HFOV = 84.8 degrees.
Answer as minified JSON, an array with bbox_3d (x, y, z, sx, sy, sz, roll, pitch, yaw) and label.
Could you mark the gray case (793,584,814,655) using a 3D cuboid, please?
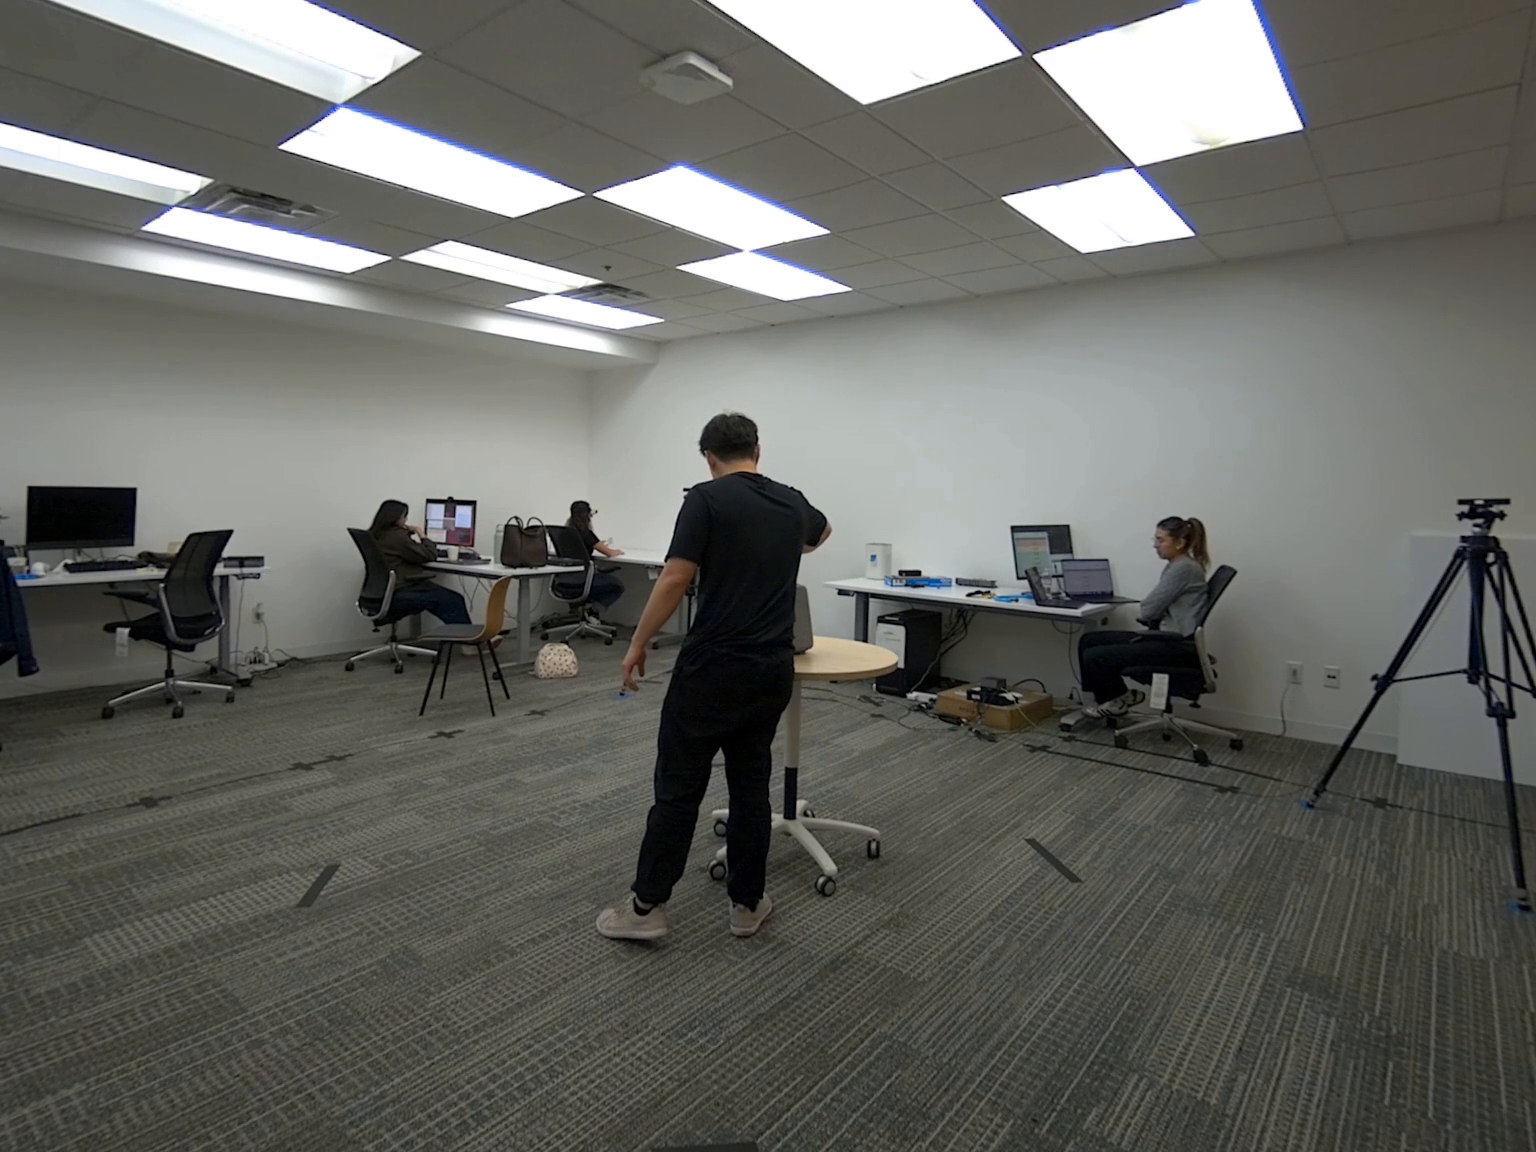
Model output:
[{"bbox_3d":[0.035,0.154,3.158,0.249,0.263,0.107,-1,-9,-40],"label":"gray case"}]
